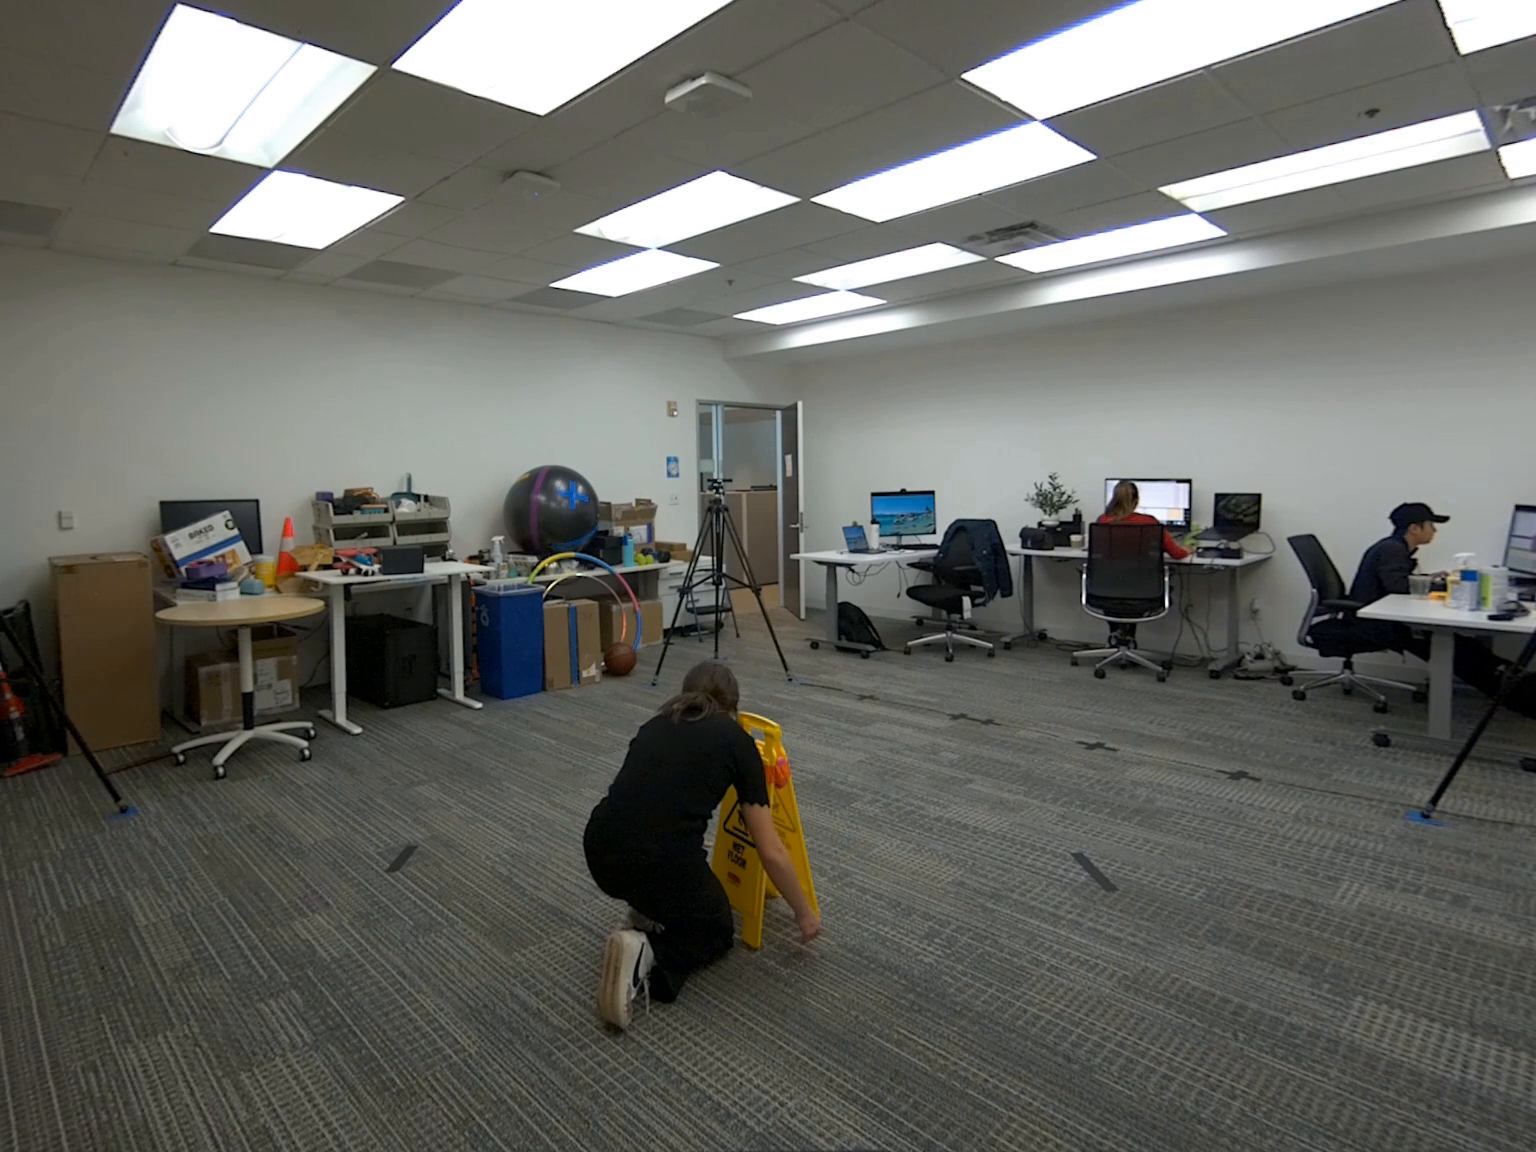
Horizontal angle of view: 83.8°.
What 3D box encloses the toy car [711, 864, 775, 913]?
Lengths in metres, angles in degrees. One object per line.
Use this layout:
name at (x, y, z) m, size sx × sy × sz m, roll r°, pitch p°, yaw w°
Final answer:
toy car at (-0.122, 1.046, 2.883) m, size 0.260 × 0.083 × 0.127 m, roll -10°, pitch -2°, yaw 43°
